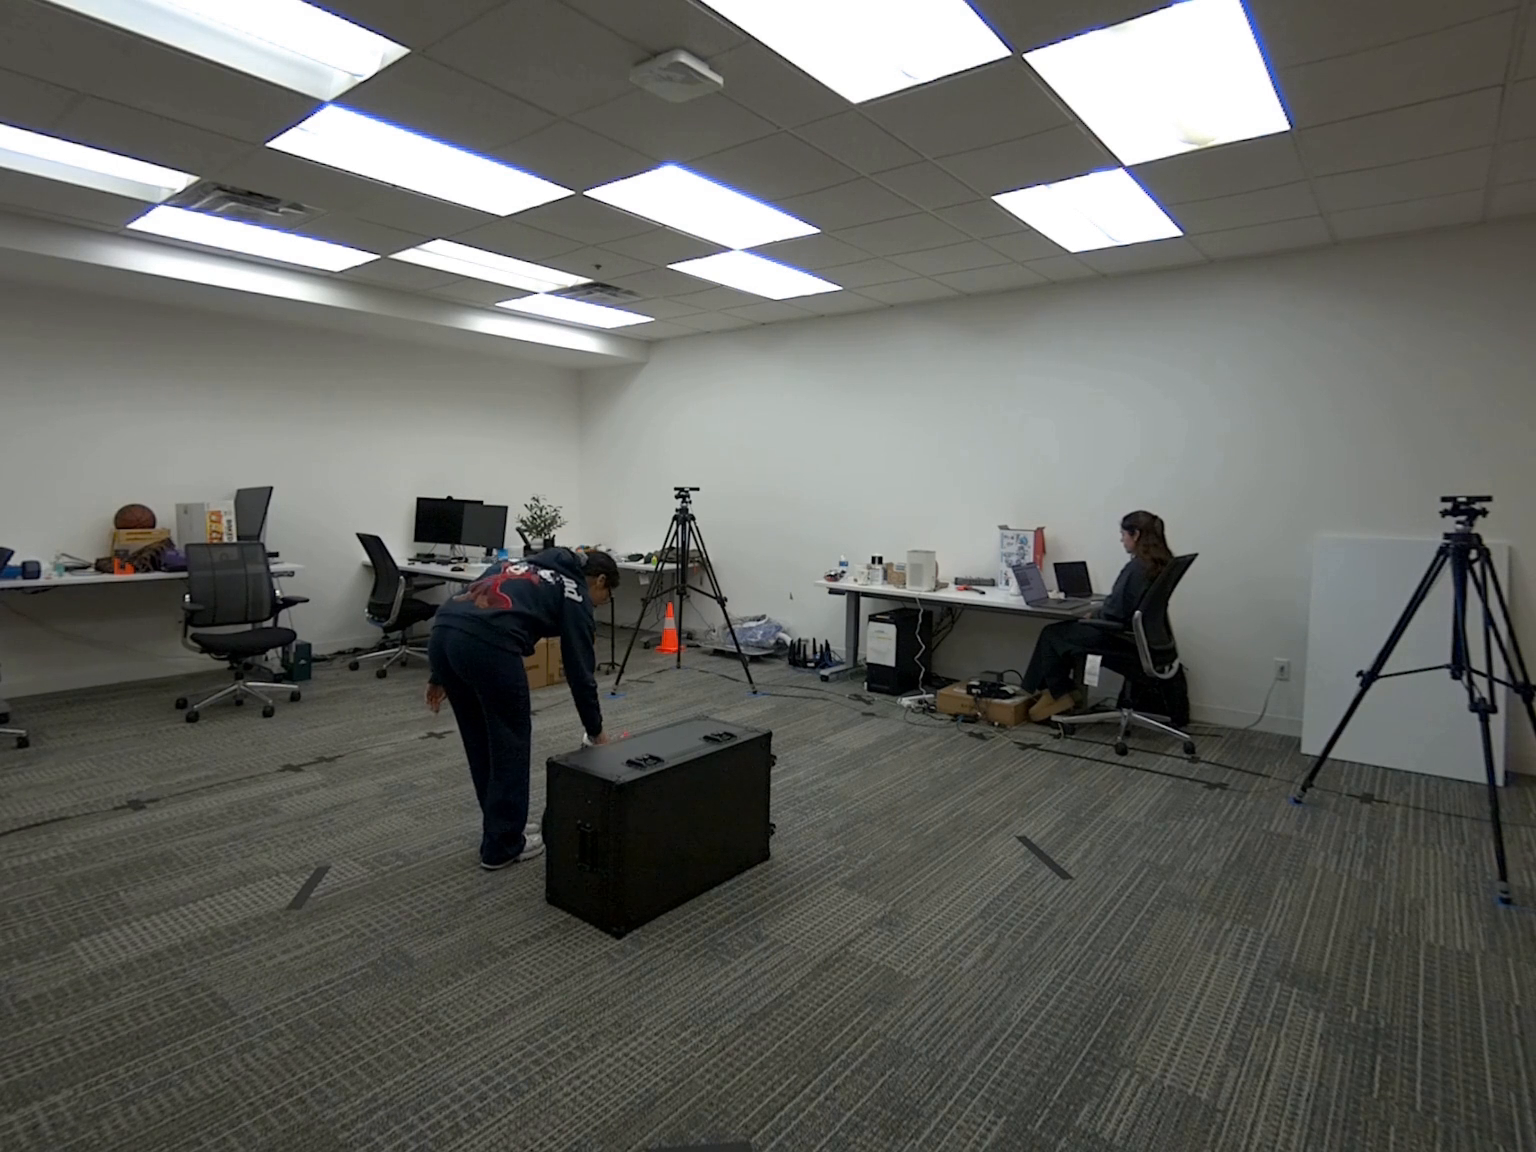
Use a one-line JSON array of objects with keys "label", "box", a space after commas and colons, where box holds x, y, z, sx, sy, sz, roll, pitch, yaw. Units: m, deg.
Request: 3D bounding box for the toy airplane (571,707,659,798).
[{"label": "toy airplane", "box": [-0.625, 0.708, 3.408, 0.249, 0.156, 0.261, 41, 7, -39]}]
